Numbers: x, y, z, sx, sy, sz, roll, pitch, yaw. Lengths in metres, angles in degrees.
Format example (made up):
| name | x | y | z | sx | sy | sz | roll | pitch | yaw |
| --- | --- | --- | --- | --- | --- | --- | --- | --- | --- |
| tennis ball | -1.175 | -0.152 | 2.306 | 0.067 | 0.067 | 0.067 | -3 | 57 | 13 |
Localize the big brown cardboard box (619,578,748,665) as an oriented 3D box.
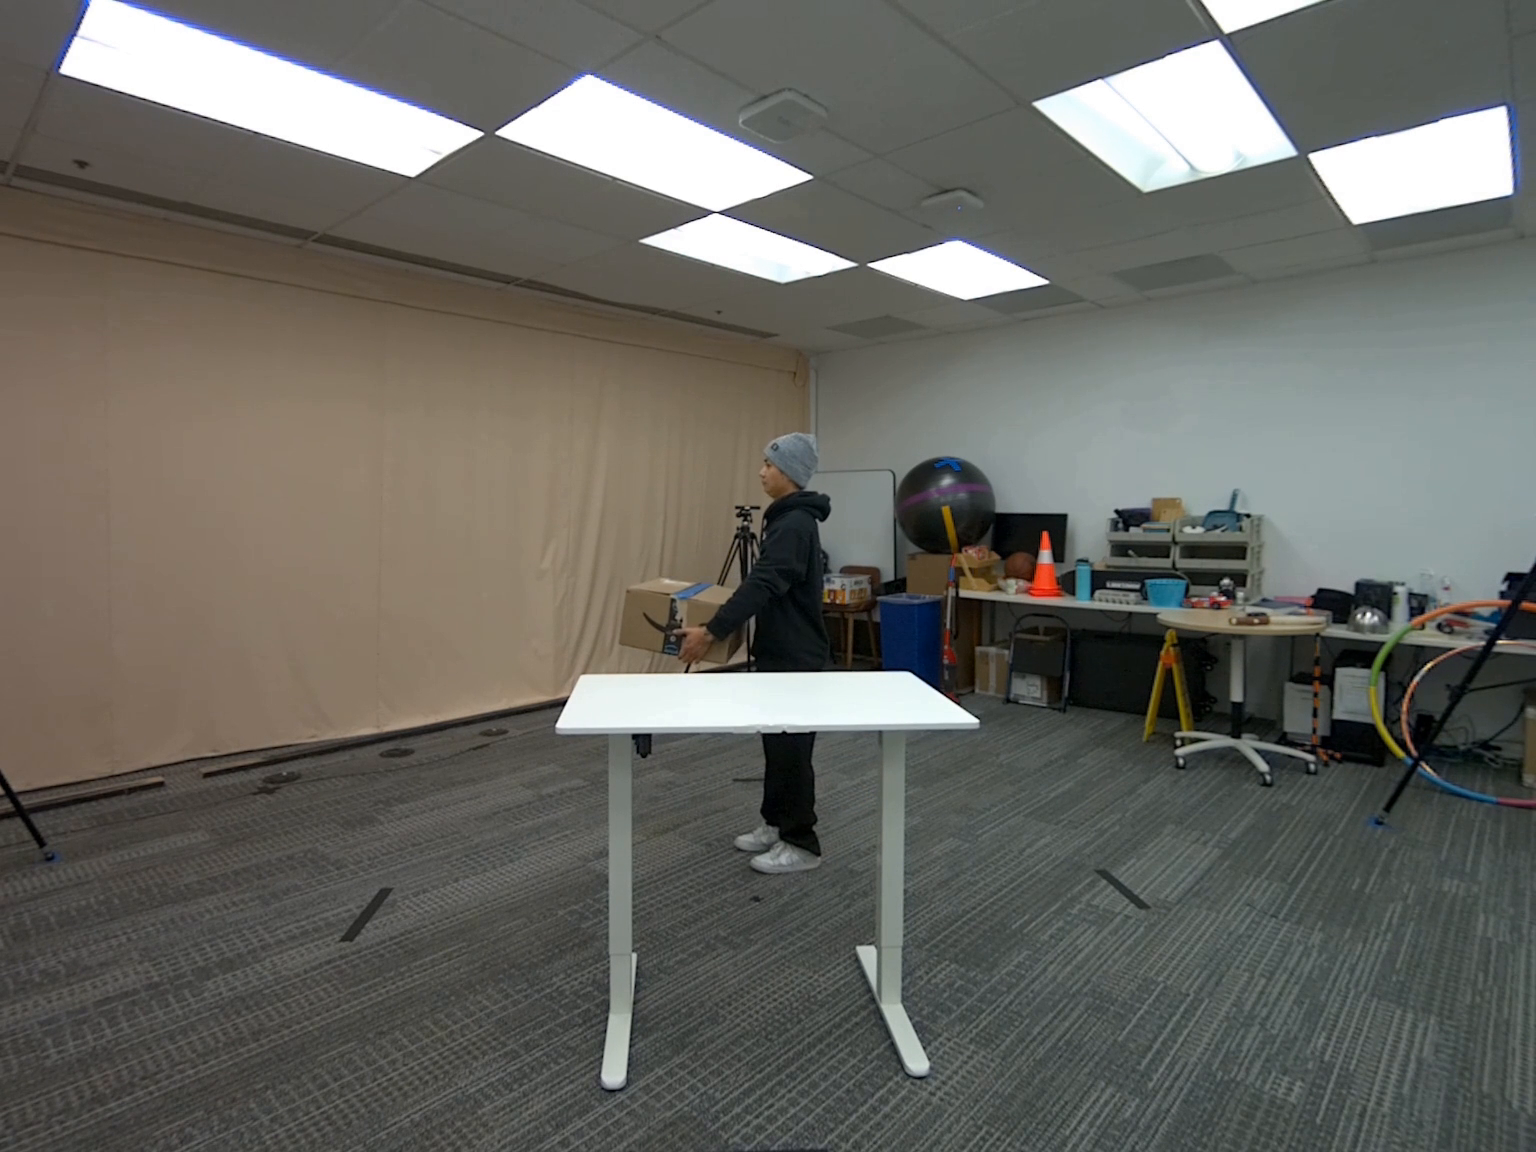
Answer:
| name | x | y | z | sx | sy | sz | roll | pitch | yaw |
| --- | --- | --- | --- | --- | --- | --- | --- | --- | --- |
| big brown cardboard box | -0.308 | 0.166 | 3.380 | 0.421 | 0.232 | 0.586 | 9 | 5 | 5 |
